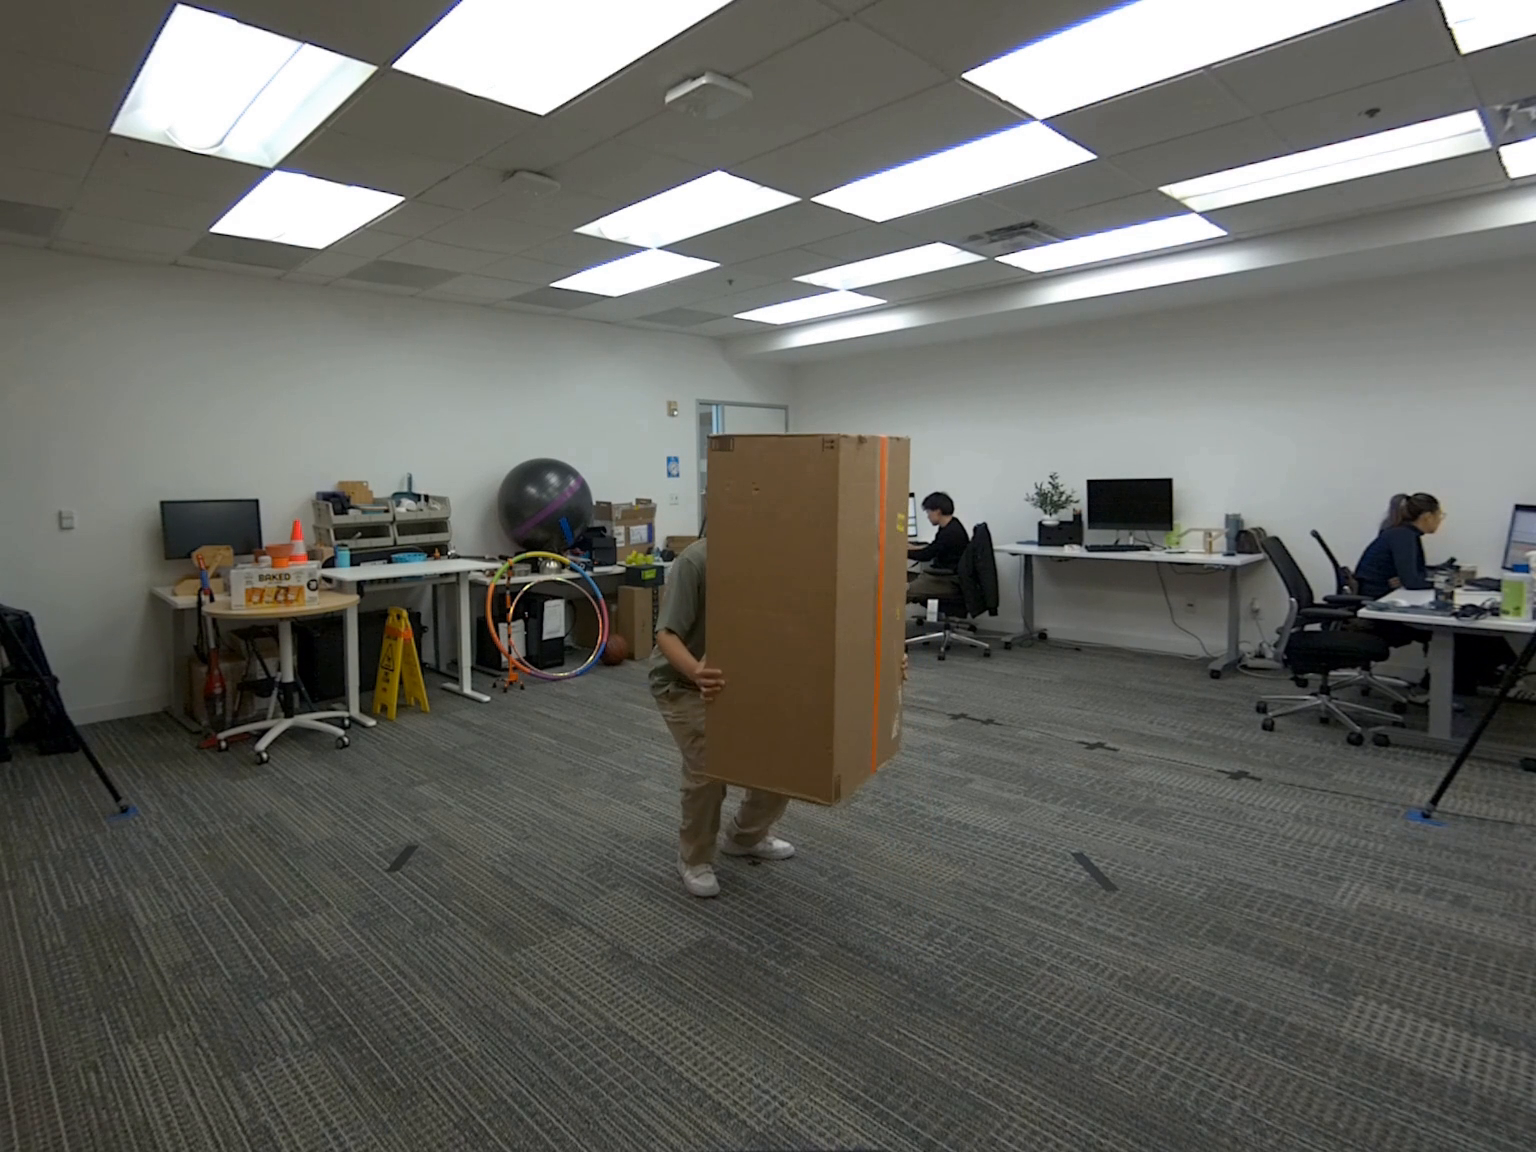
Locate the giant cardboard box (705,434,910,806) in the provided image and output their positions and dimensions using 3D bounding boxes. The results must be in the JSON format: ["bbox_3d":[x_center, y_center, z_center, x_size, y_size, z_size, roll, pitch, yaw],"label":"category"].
[{"bbox_3d":[0.133,0.084,2.629,0.438,1.021,0.565,4,6,29],"label":"giant cardboard box"}]
